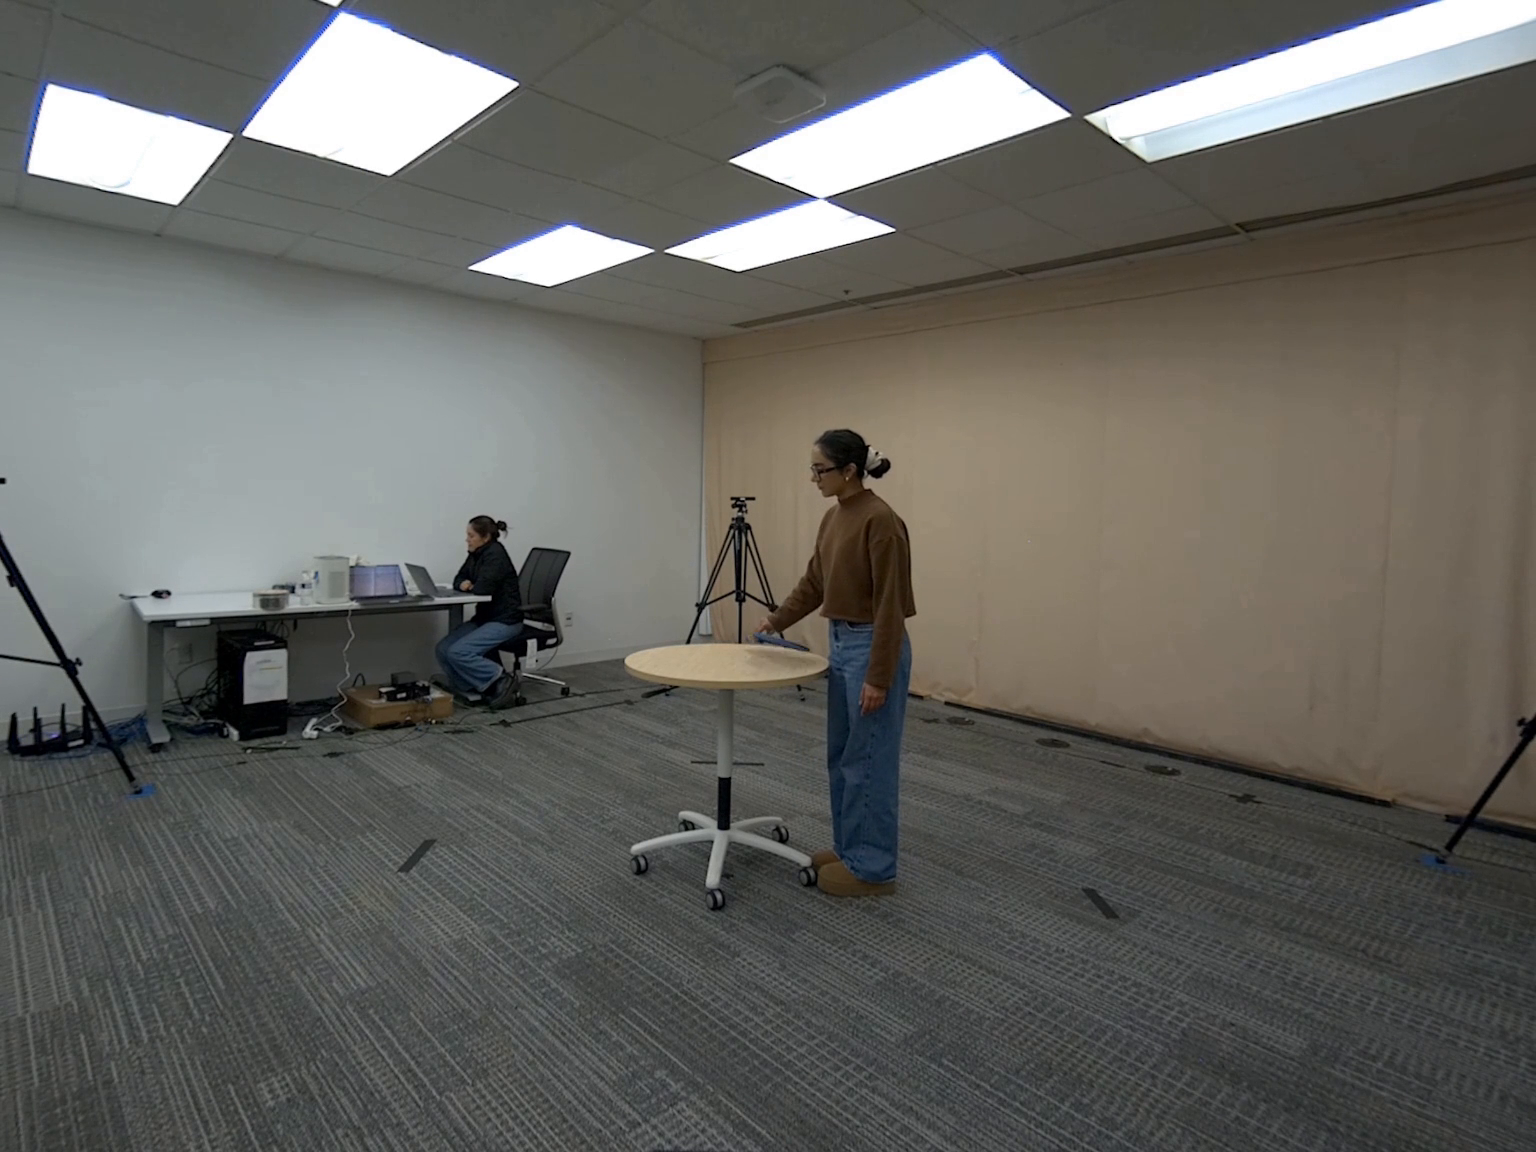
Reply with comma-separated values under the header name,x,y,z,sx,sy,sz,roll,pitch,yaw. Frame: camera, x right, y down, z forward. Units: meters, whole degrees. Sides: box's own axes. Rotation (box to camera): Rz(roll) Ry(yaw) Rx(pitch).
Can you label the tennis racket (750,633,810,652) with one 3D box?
name,x,y,z,sx,sy,sz,roll,pitch,yaw
tennis racket,0.011,0.254,3.225,0.209,0.032,0.440,19,-8,-23
